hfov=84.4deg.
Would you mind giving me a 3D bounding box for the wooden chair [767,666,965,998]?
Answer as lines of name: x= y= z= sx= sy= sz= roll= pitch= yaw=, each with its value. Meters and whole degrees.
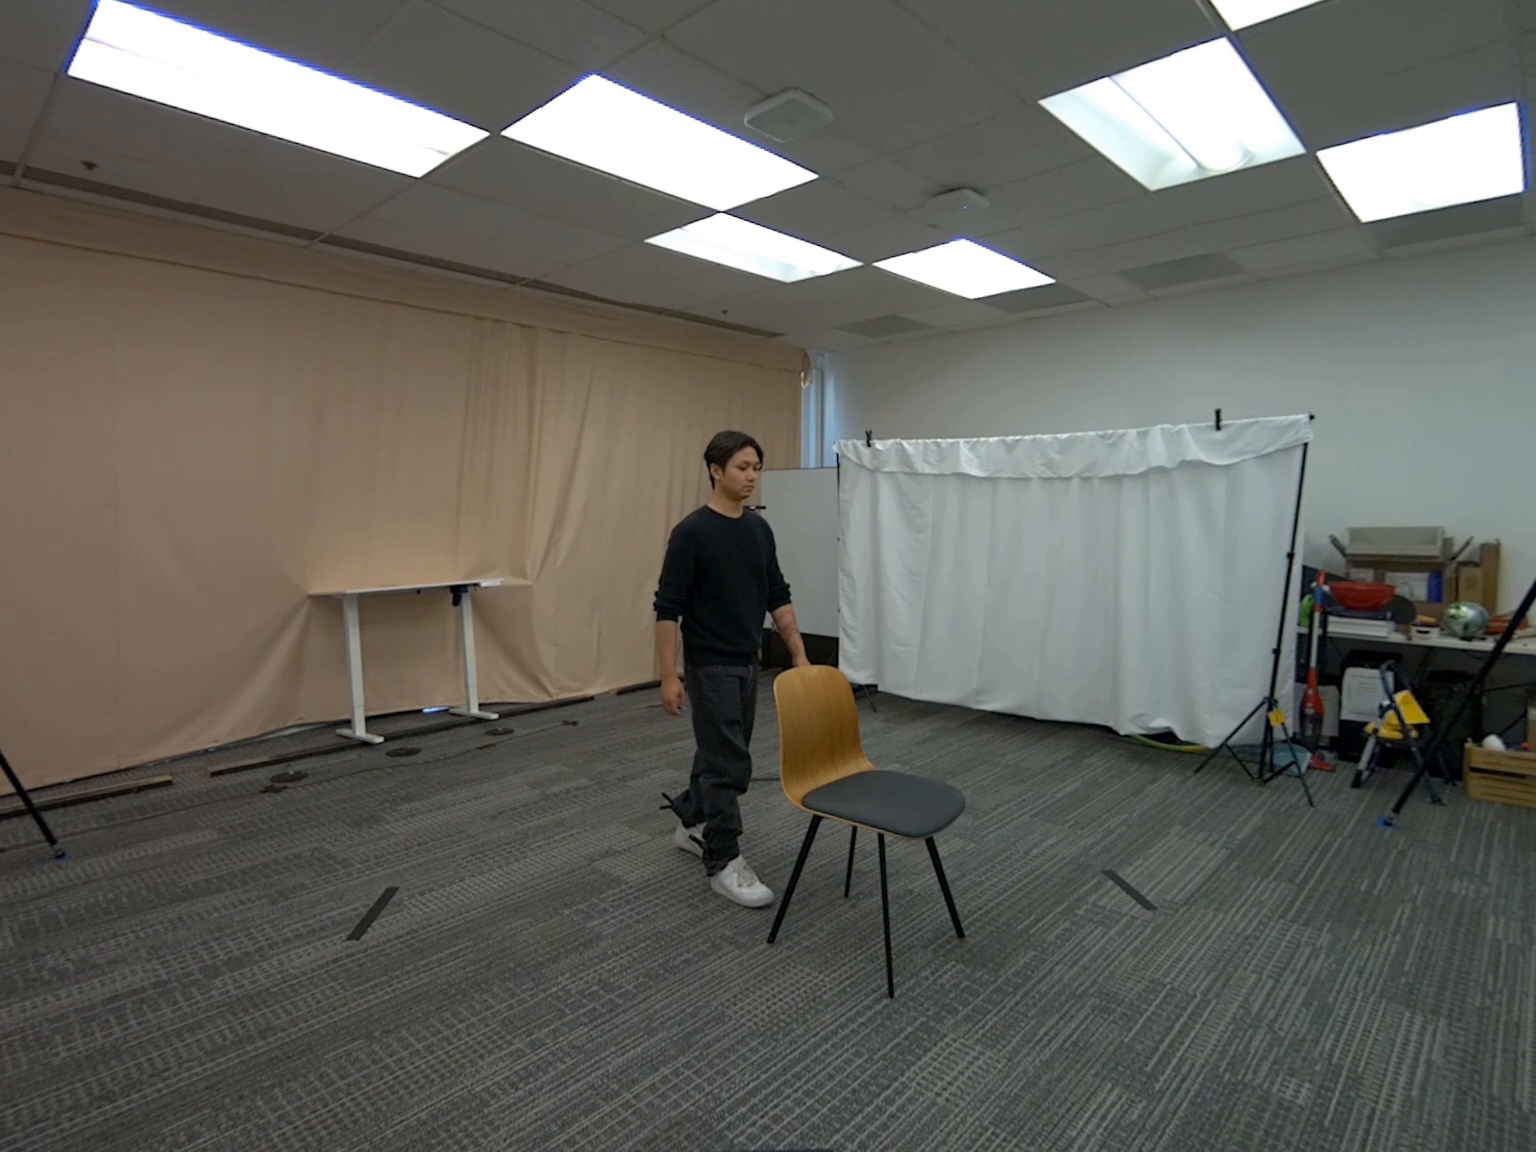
wooden chair: x=0.327 y=0.745 z=2.657 sx=0.539 sy=0.877 sz=0.463 roll=-3 pitch=1 yaw=41
